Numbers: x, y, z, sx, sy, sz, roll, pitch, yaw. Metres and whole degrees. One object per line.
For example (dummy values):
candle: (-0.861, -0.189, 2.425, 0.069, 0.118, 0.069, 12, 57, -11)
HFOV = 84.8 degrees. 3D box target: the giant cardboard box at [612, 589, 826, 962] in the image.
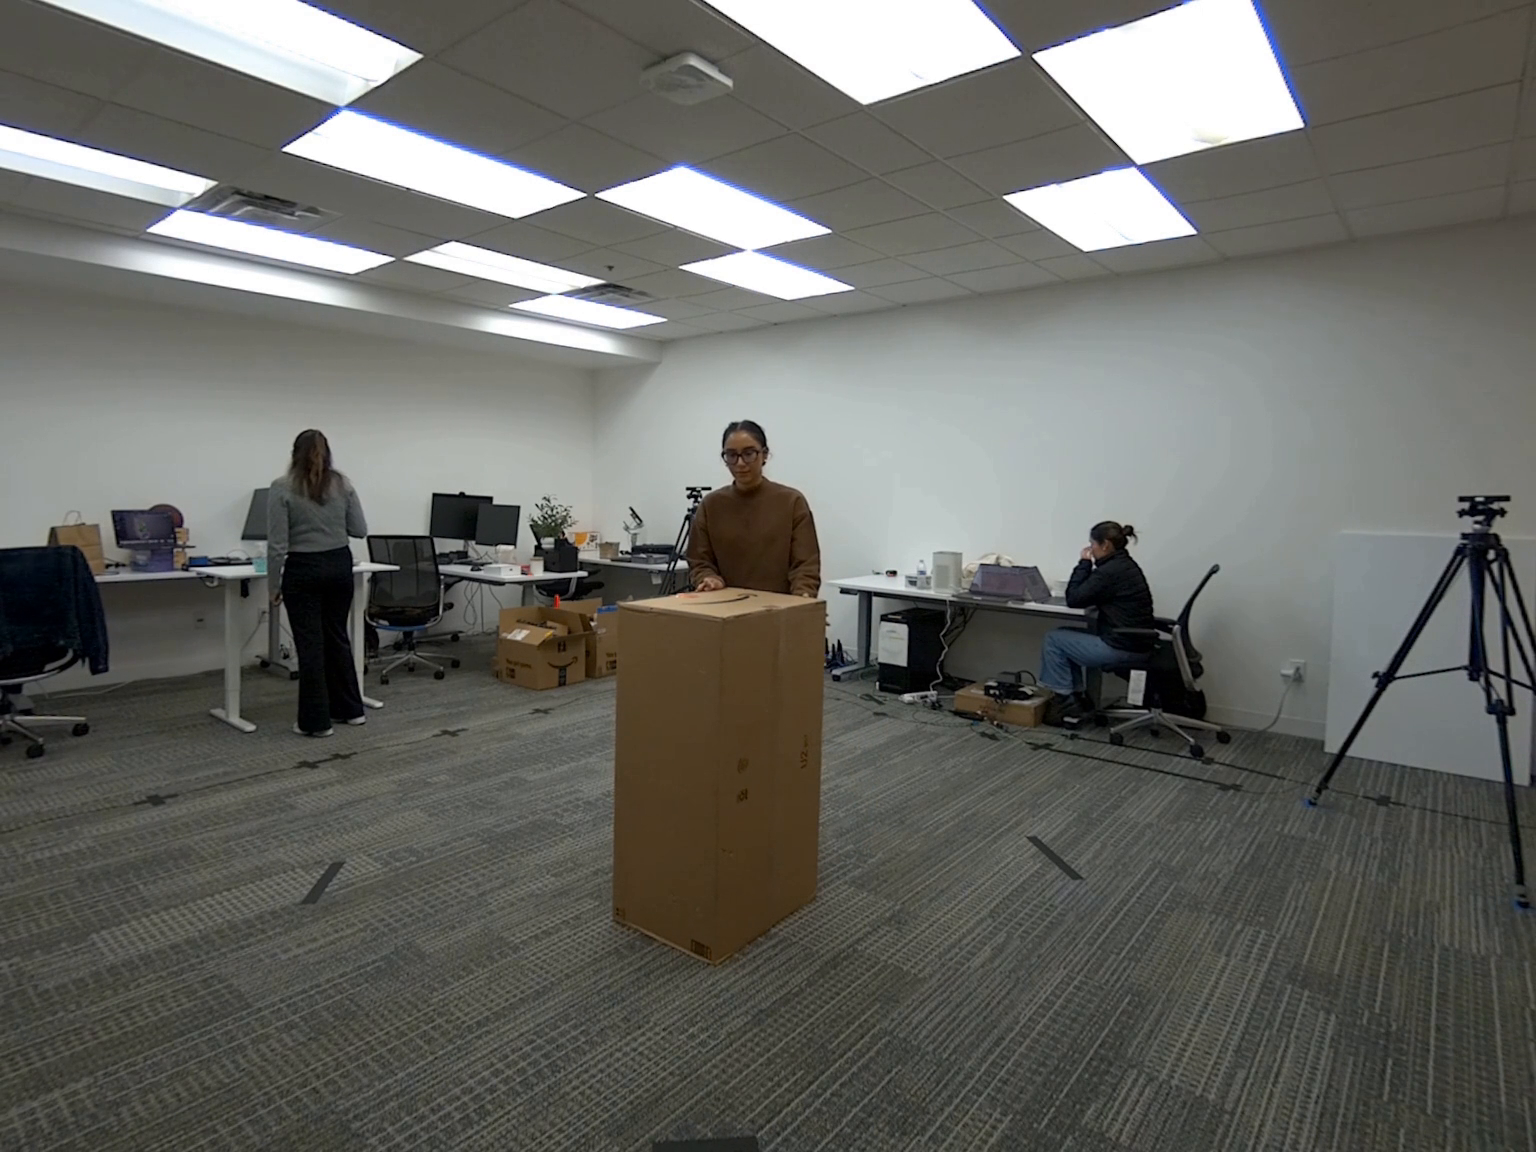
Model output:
giant cardboard box: (-0.162, 0.588, 2.784, 0.440, 1.022, 0.561, 4, 5, 37)
